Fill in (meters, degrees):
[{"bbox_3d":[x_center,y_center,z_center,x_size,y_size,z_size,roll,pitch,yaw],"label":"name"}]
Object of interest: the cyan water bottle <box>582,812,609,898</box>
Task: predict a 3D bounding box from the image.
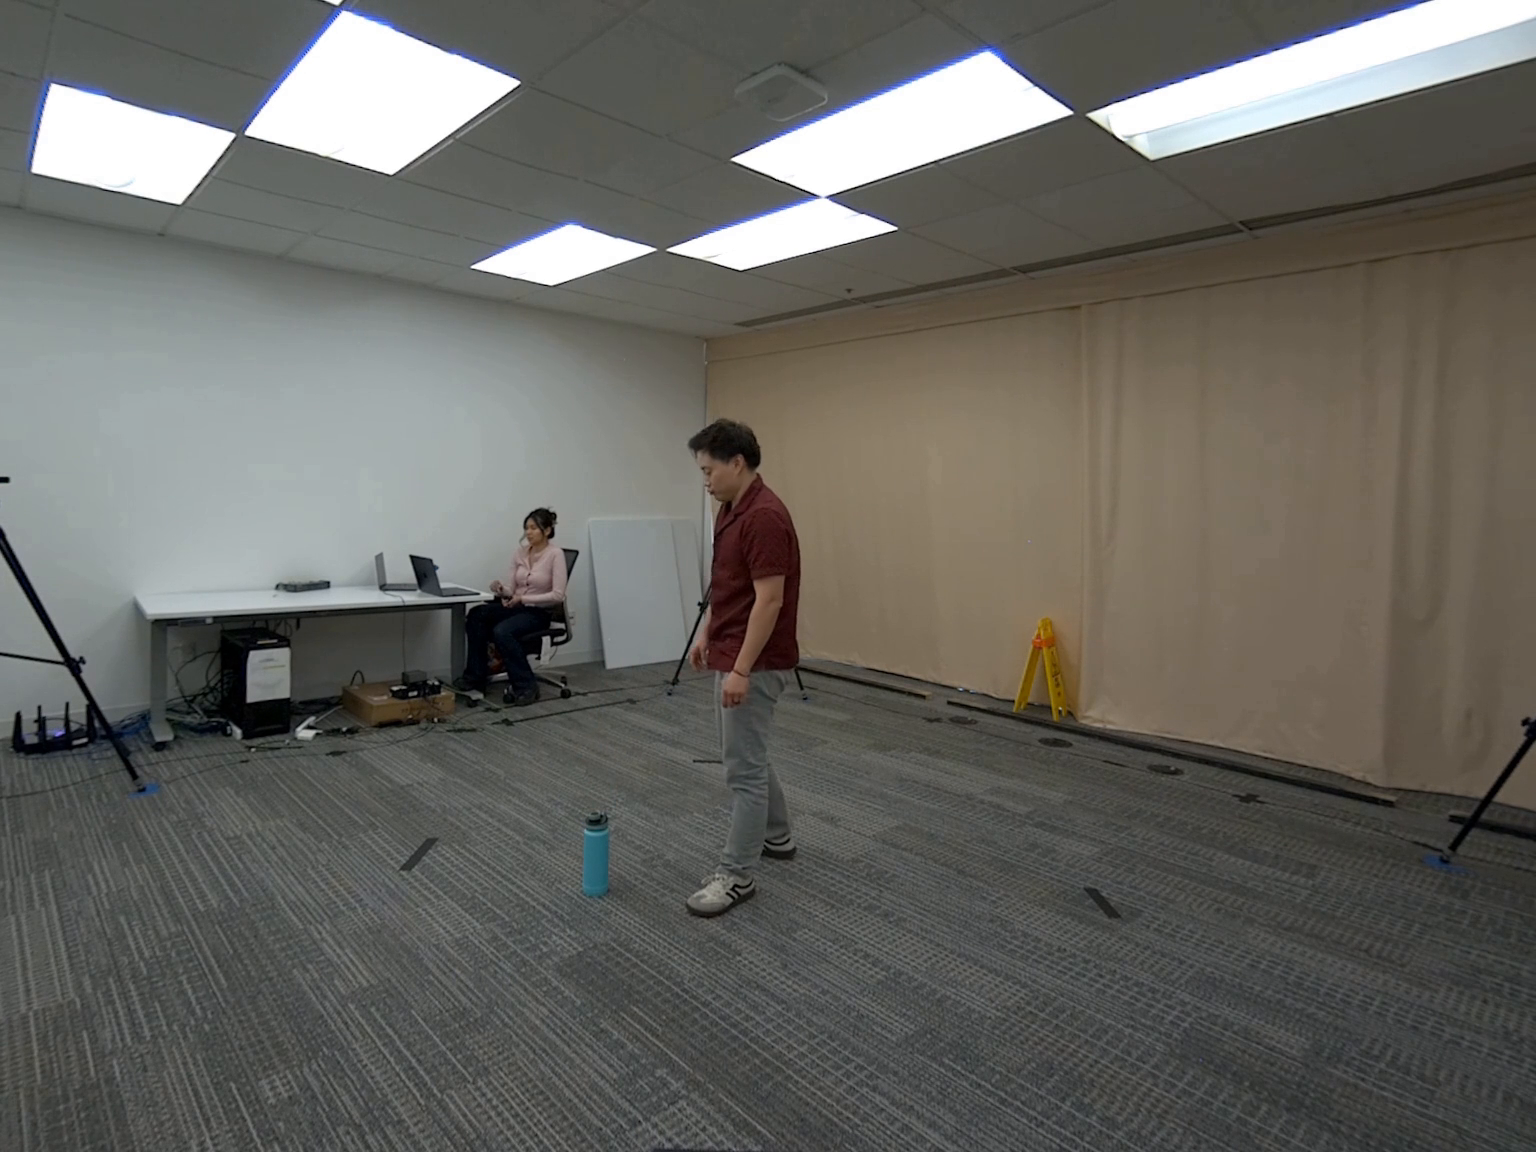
[{"bbox_3d":[-0.602,0.964,2.942,0.092,0.283,0.092,4,4,-2],"label":"cyan water bottle"}]
